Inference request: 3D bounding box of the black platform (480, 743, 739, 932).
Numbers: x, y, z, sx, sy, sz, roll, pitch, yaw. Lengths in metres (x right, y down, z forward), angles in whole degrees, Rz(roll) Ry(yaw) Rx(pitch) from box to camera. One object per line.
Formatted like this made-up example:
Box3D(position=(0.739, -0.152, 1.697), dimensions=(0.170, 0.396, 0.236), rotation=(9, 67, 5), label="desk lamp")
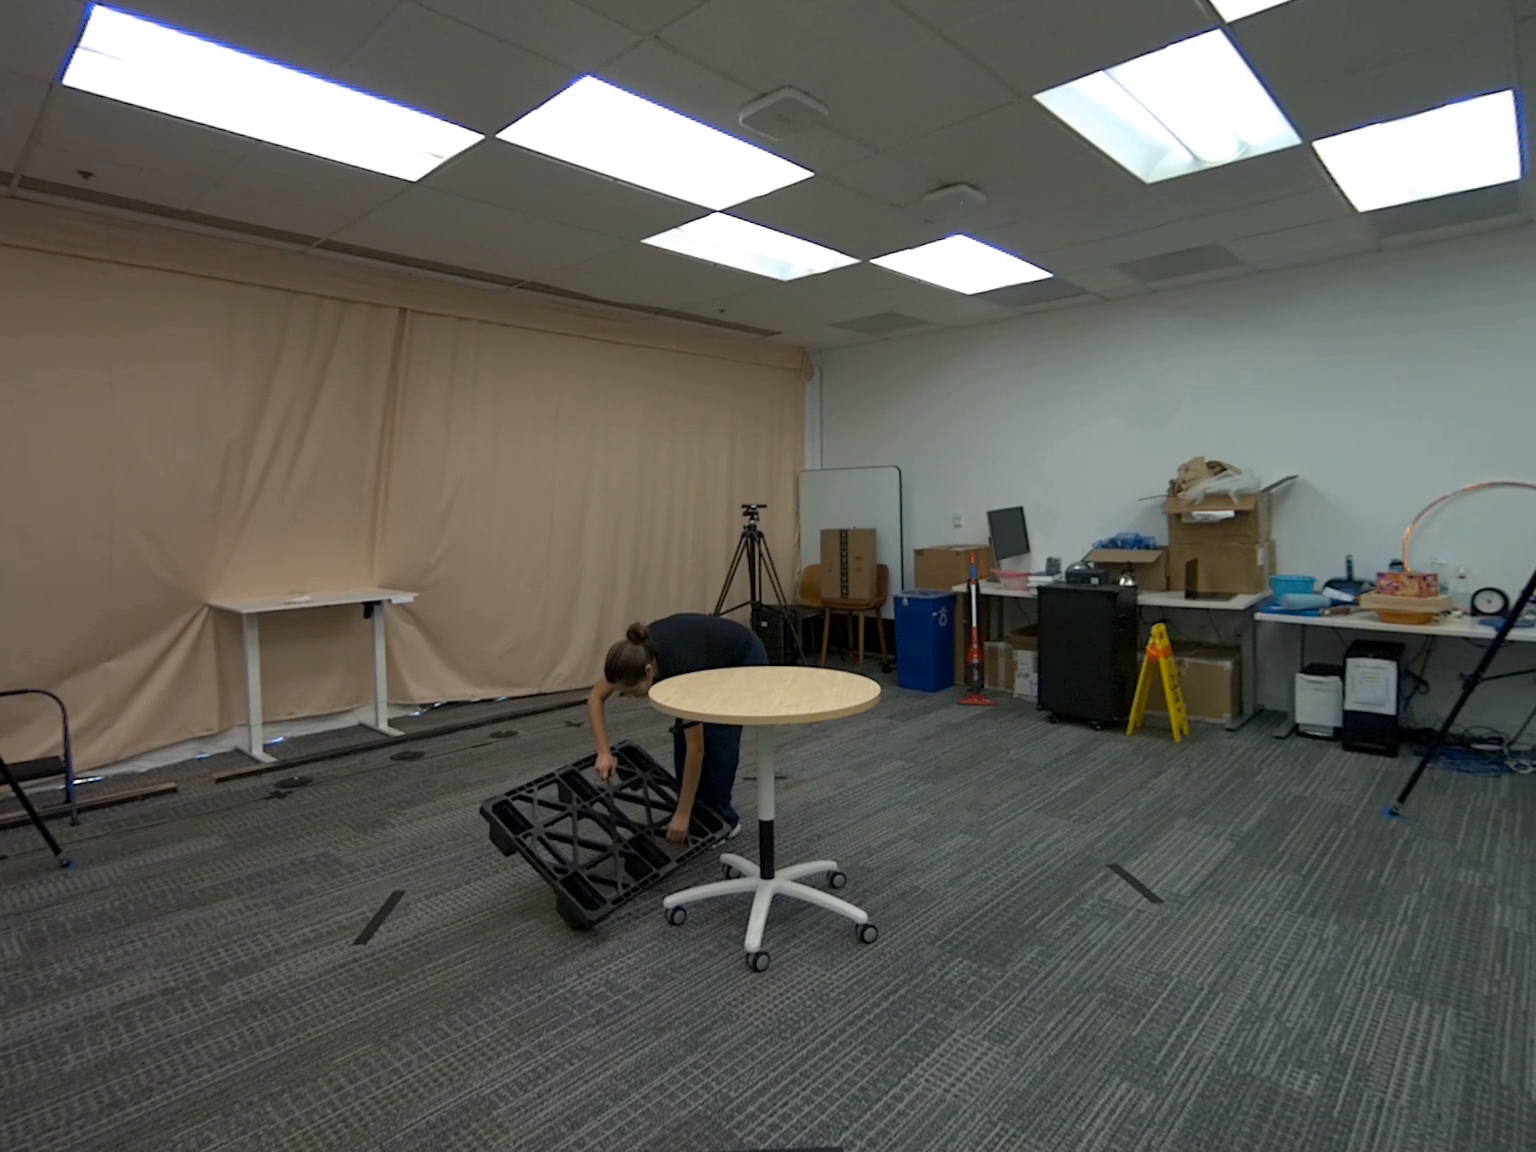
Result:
Box3D(position=(-0.589, 0.950, 3.155), dimensions=(0.623, 0.143, 0.785), rotation=(33, 25, 26), label="black platform")
